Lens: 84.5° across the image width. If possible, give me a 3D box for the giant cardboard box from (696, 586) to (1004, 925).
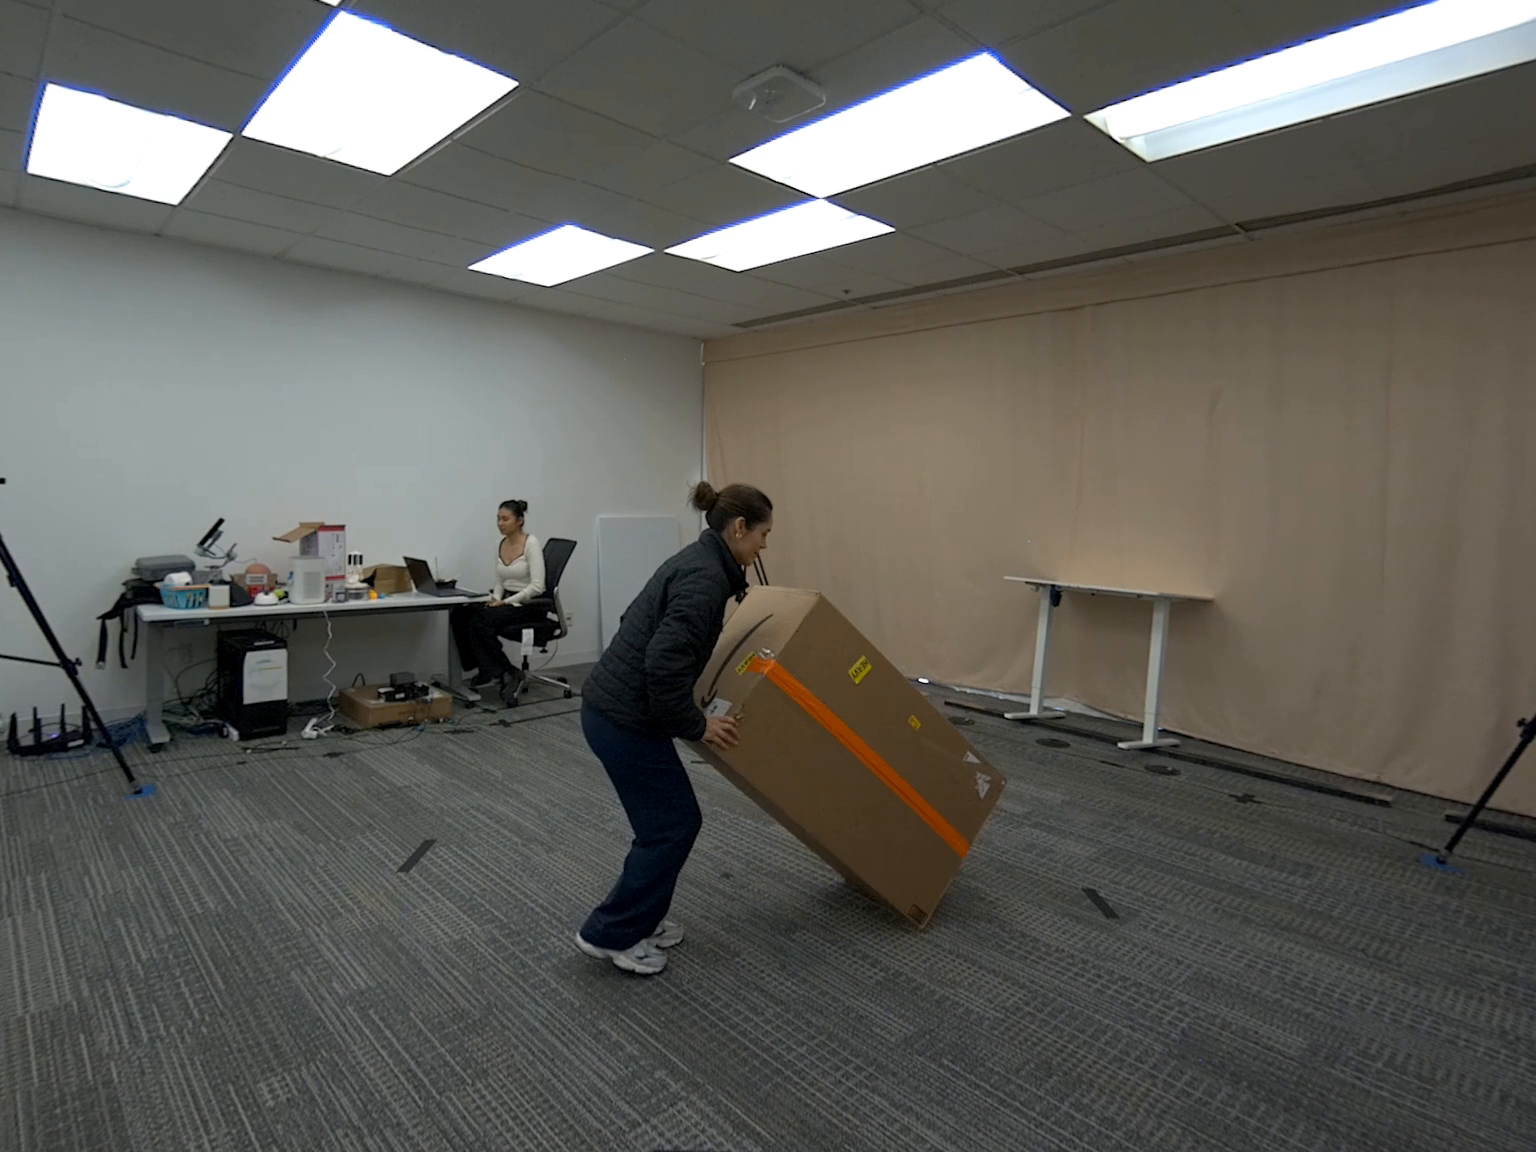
[{"bbox_3d":[0.227,0.587,2.807,1.005,0.584,0.456,45,-17,-22],"label":"giant cardboard box"}]
